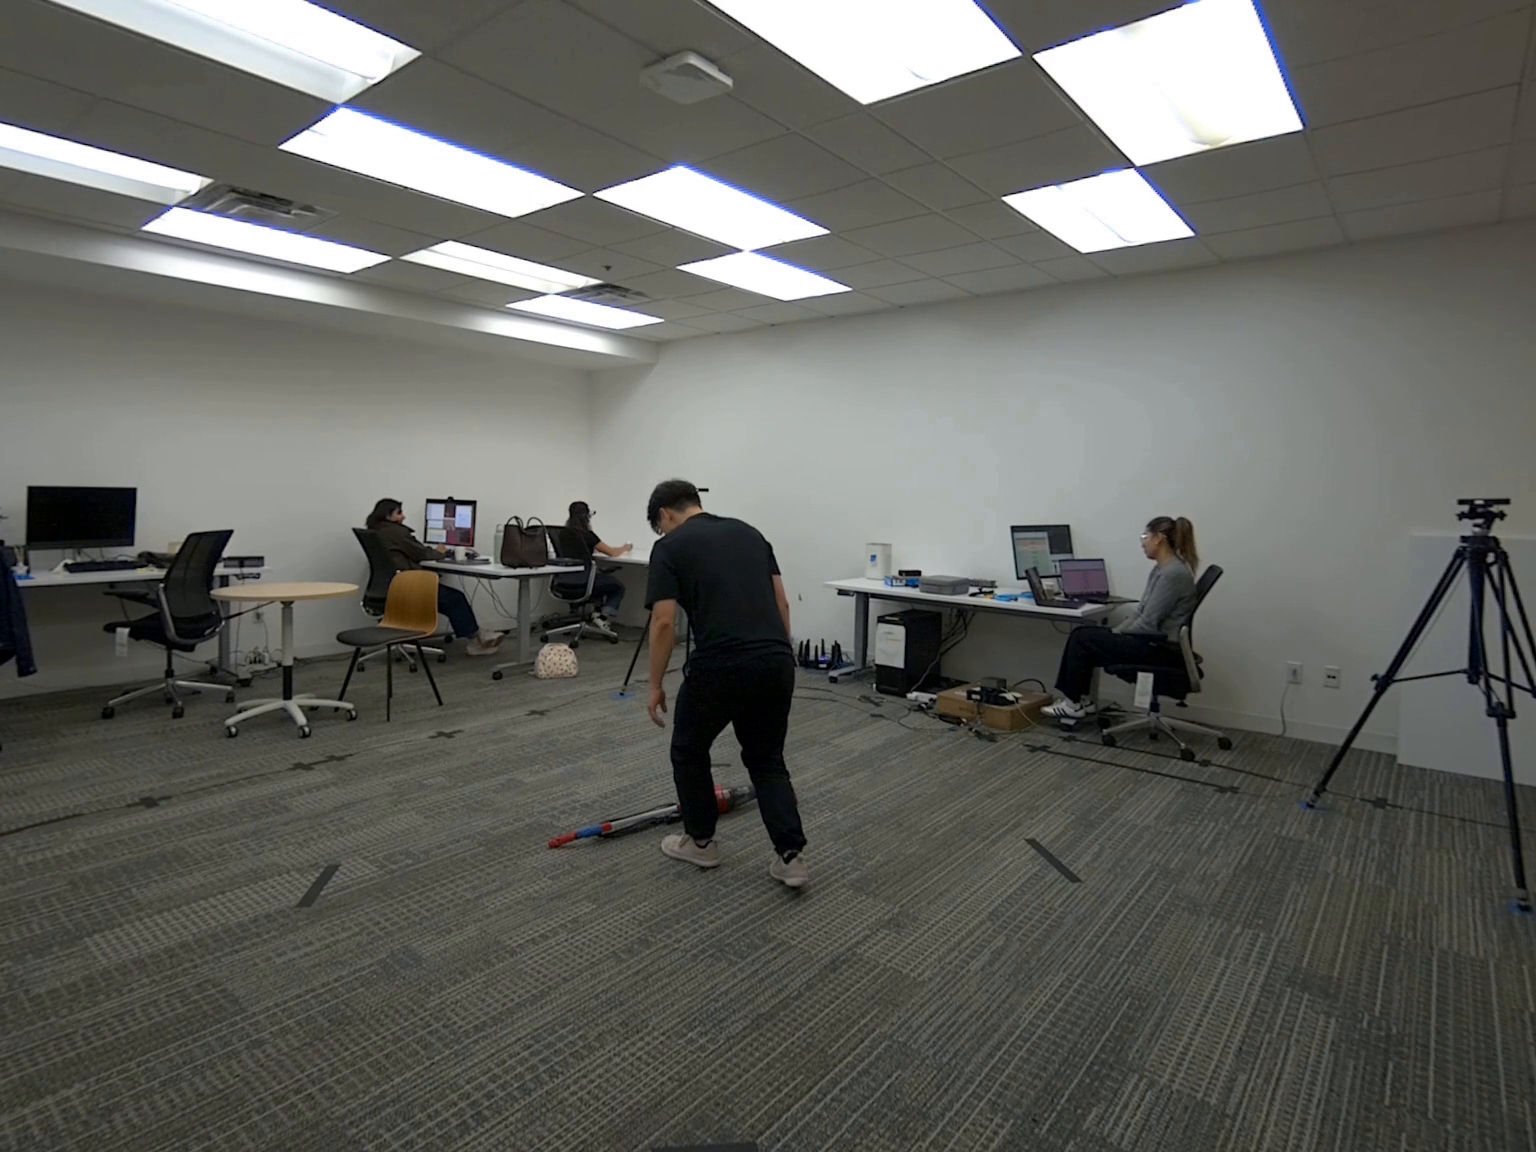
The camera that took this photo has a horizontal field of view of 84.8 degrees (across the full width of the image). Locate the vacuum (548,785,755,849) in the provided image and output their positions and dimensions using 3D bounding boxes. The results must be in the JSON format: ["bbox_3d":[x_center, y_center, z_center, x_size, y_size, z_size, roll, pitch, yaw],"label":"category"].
[{"bbox_3d":[-0.412,0.973,3.529,1.024,0.260,0.143,-8,-27,-30],"label":"vacuum"}]
